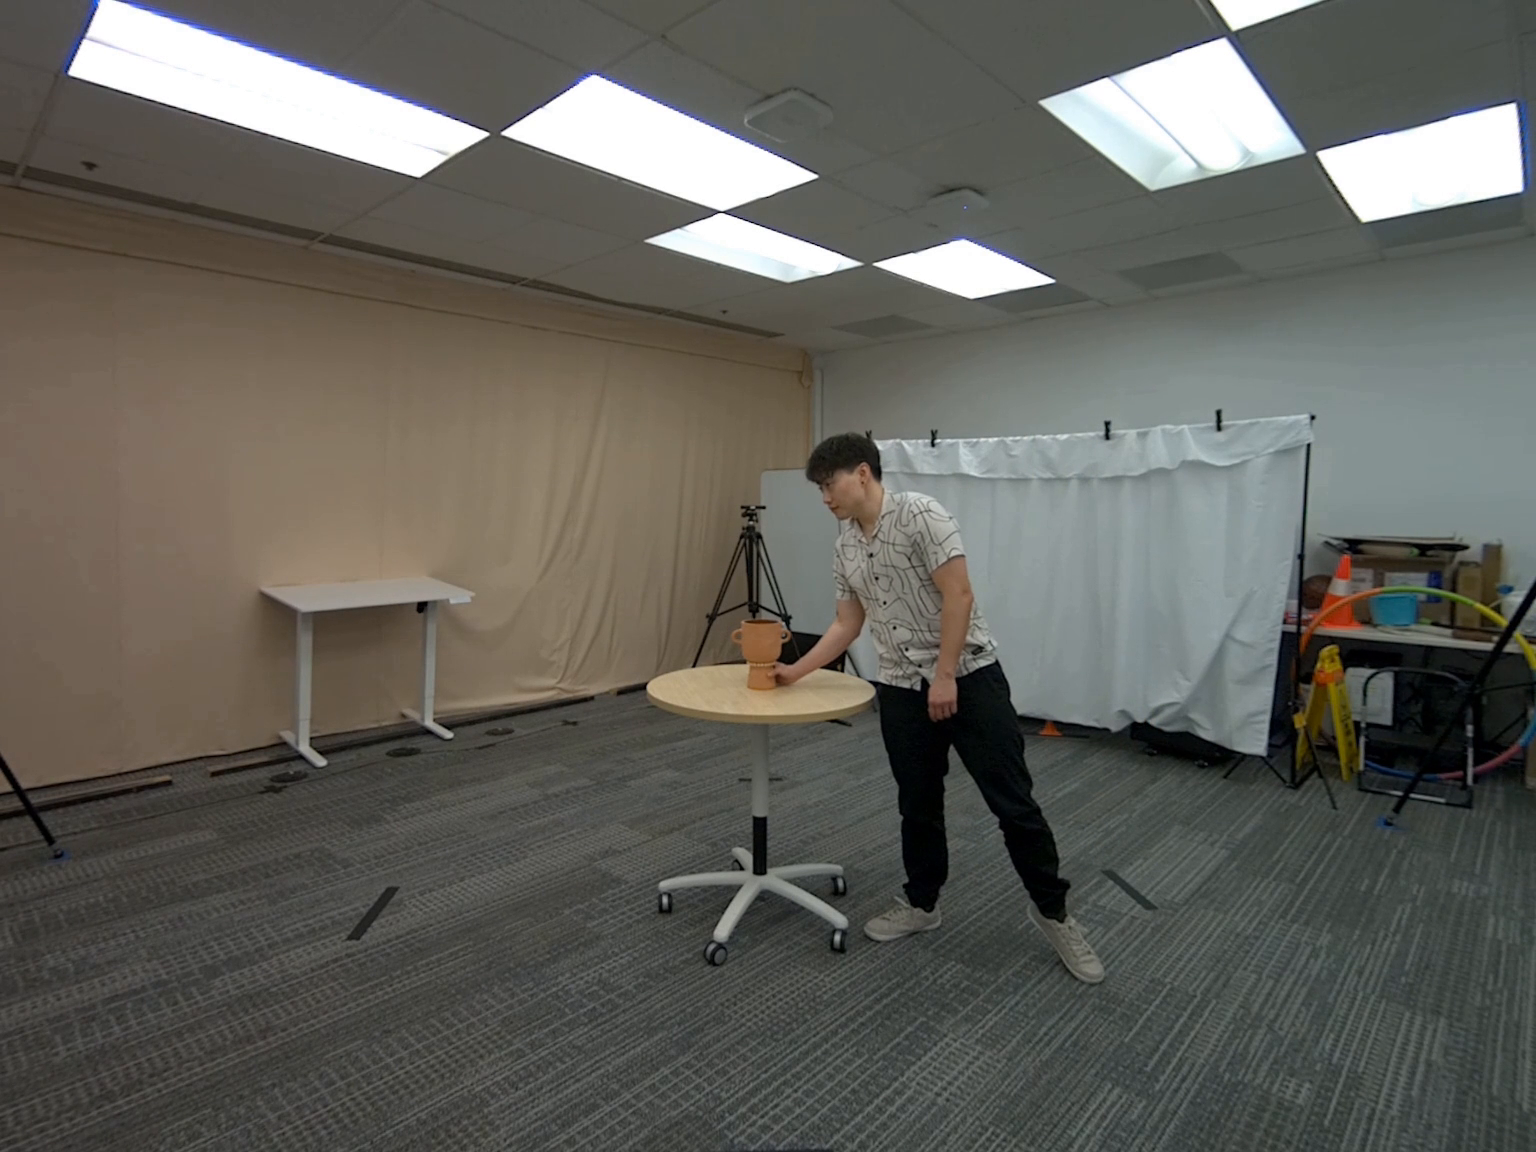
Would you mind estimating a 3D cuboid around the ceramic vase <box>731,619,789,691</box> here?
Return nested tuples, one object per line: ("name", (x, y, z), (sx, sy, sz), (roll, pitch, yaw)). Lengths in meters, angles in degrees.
("ceramic vase", (-0.019, 0.264, 2.818), (0.164, 0.219, 0.131), (2, 4, 34))
